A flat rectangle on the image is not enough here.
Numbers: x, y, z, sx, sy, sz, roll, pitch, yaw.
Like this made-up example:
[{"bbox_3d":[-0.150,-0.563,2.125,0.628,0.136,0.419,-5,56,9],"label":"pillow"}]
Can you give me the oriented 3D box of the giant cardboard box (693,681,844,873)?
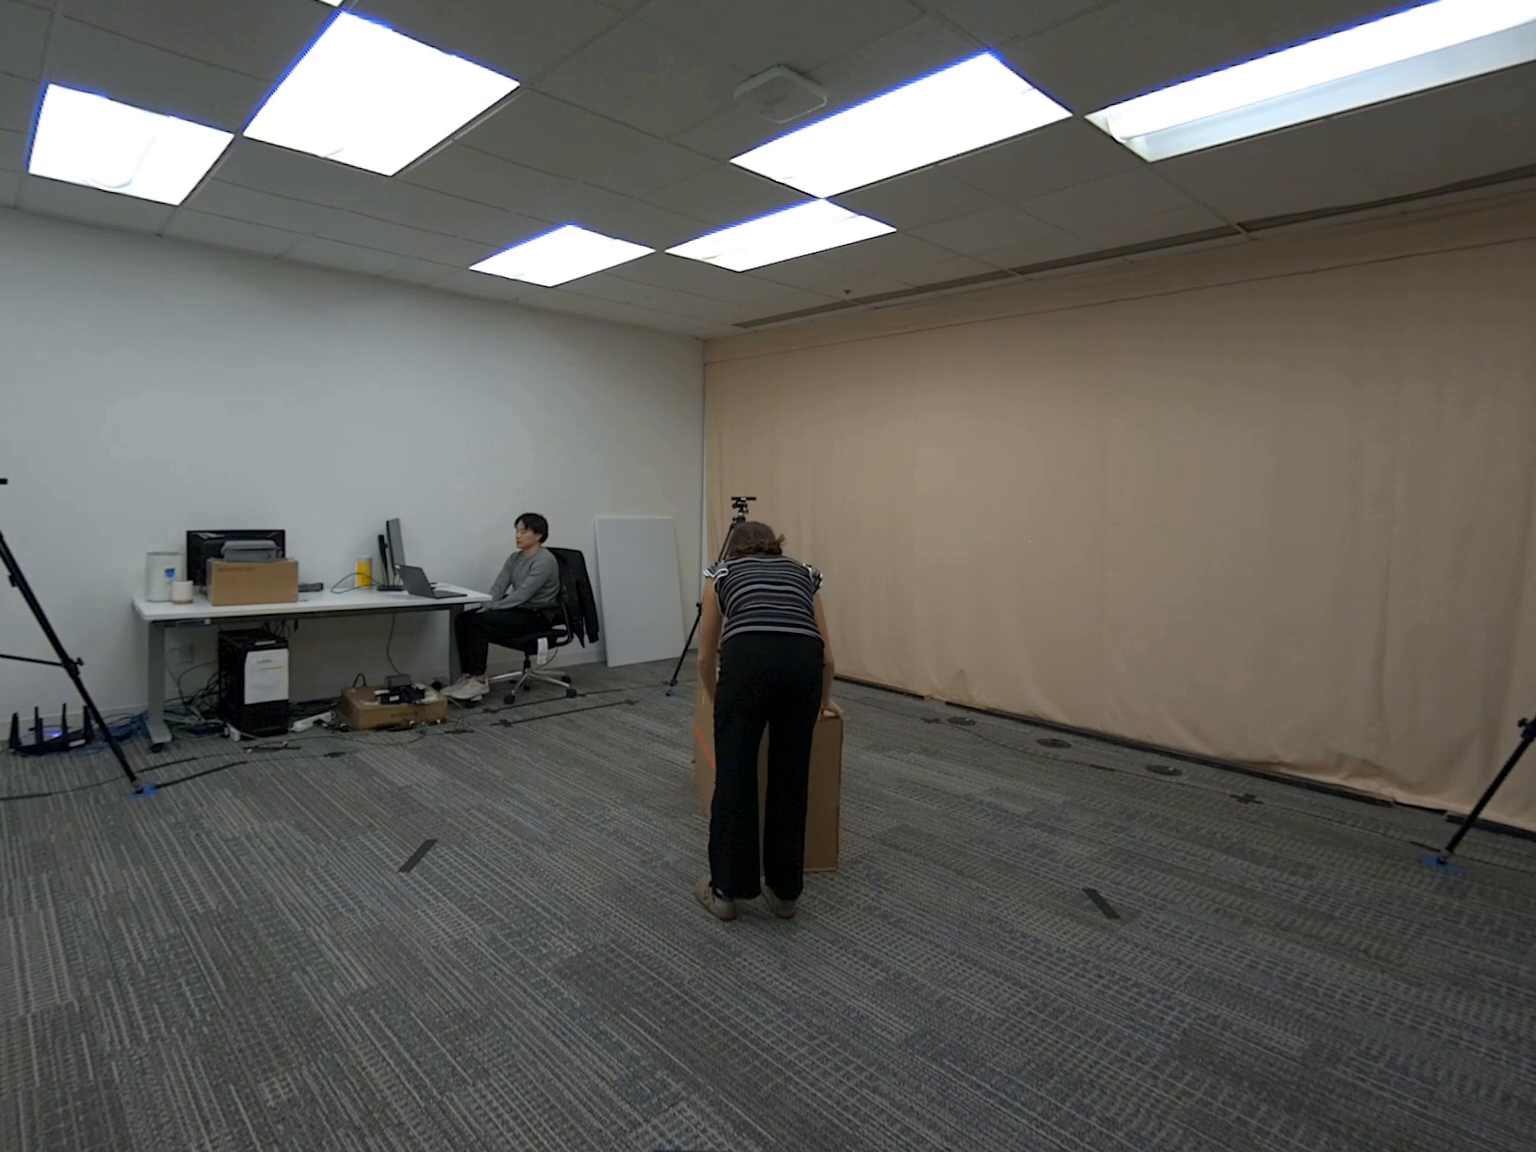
[{"bbox_3d":[-0.047,0.774,3.626,0.422,0.576,1.037,1,4,-12],"label":"giant cardboard box"}]
